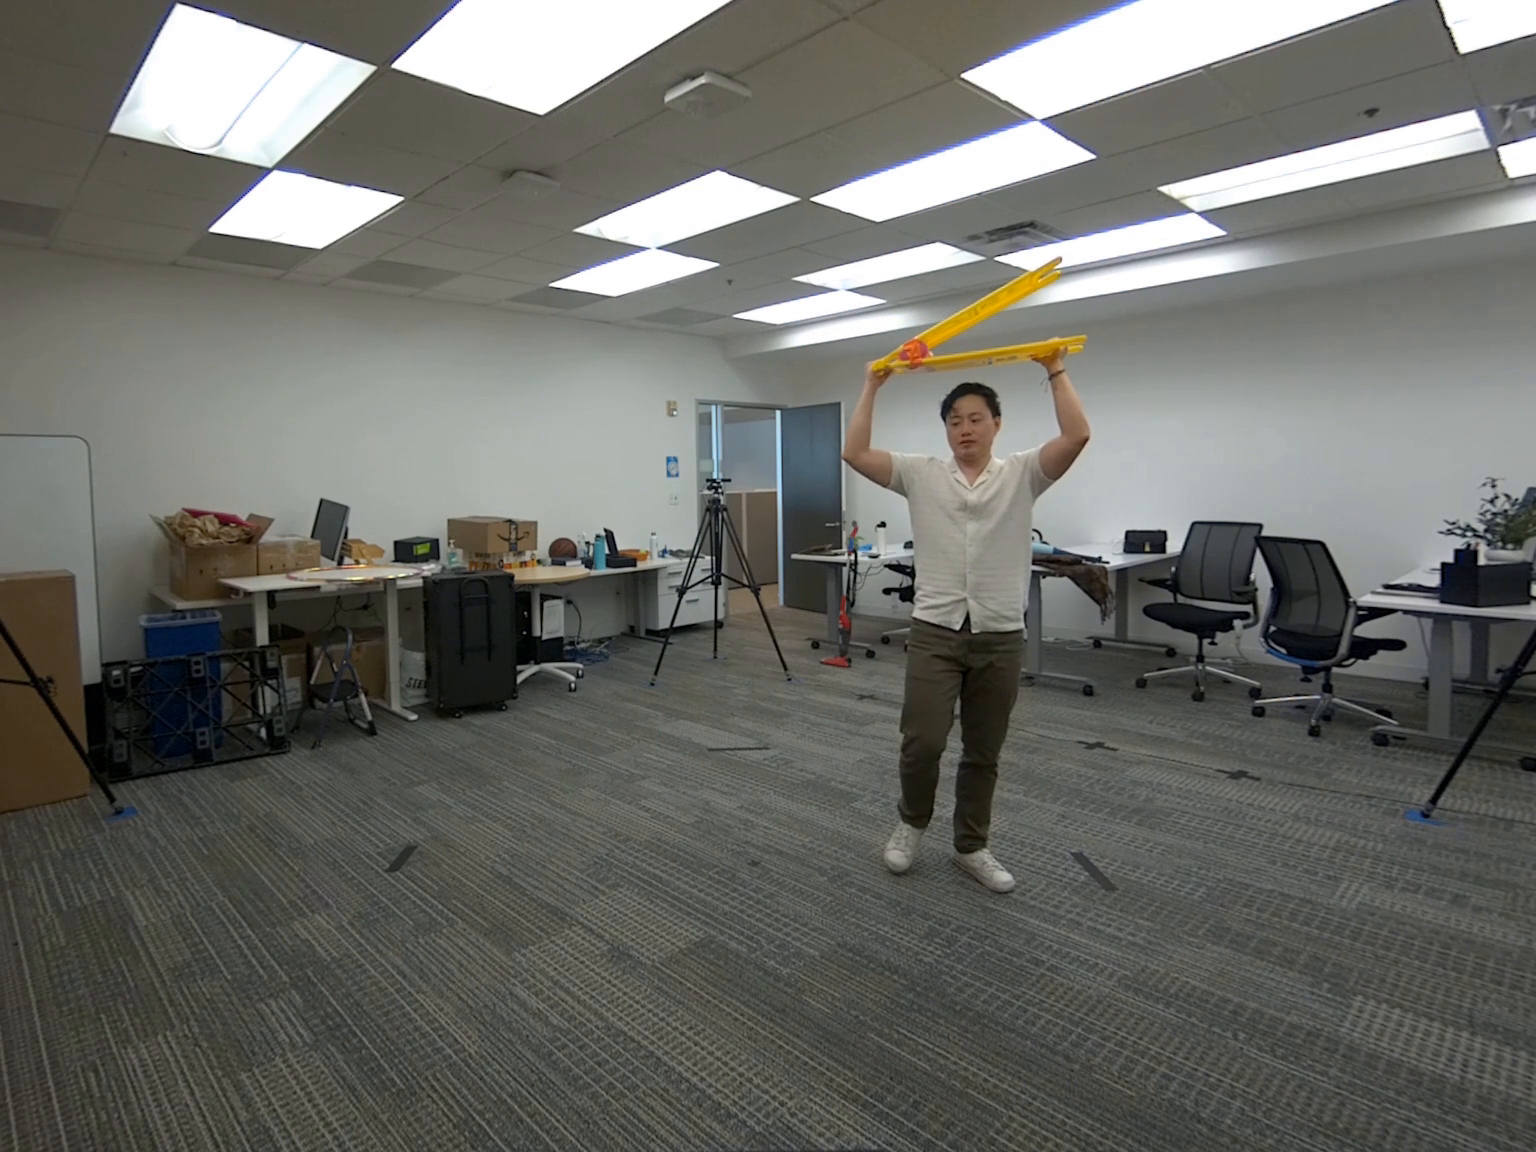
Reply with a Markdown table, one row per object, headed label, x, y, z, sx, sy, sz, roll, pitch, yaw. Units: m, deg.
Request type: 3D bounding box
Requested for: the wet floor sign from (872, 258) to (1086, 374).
| label | x | y | z | sx | sy | sz | roll | pitch | yaw |
| --- | --- | --- | --- | --- | --- | --- | --- | --- | --- |
| wet floor sign | 0.673 | -0.782 | 2.811 | 0.654 | 0.290 | 0.278 | -16 | -1 | 19 |
